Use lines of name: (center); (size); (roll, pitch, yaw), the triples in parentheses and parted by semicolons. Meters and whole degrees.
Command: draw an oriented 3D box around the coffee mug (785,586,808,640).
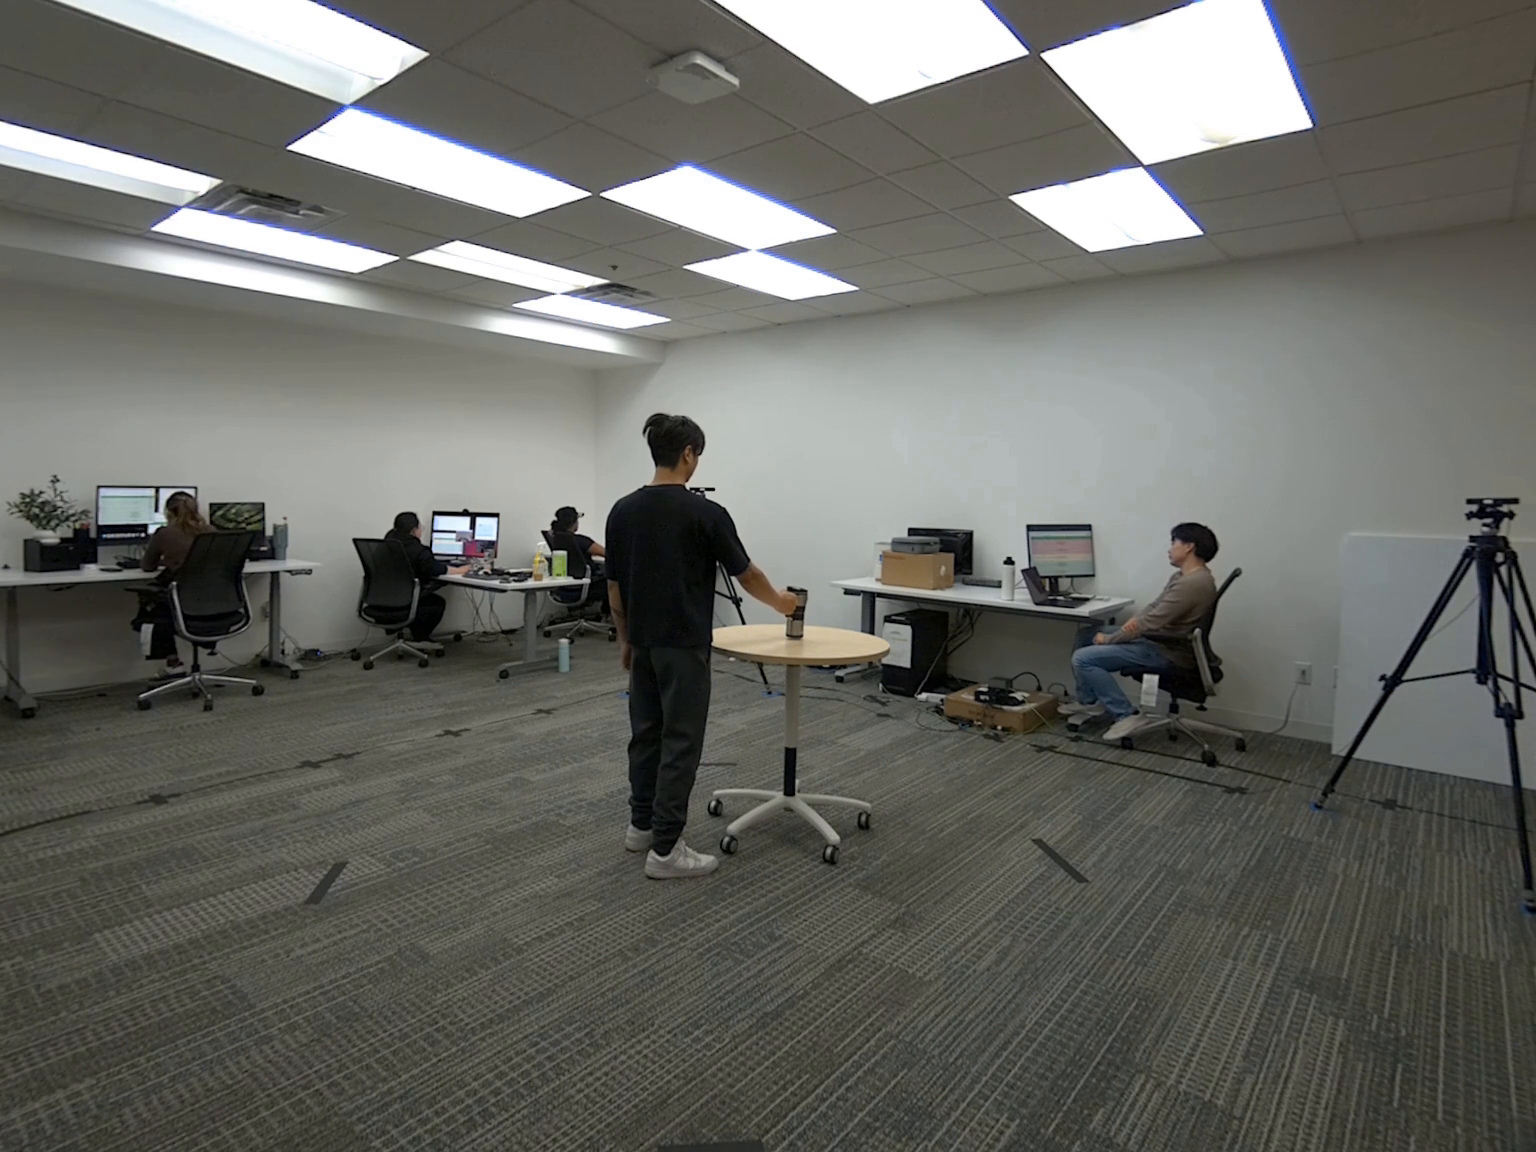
coffee mug: (0.092, 0.147, 3.468); (0.118, 0.202, 0.091); (5, 6, -36)
